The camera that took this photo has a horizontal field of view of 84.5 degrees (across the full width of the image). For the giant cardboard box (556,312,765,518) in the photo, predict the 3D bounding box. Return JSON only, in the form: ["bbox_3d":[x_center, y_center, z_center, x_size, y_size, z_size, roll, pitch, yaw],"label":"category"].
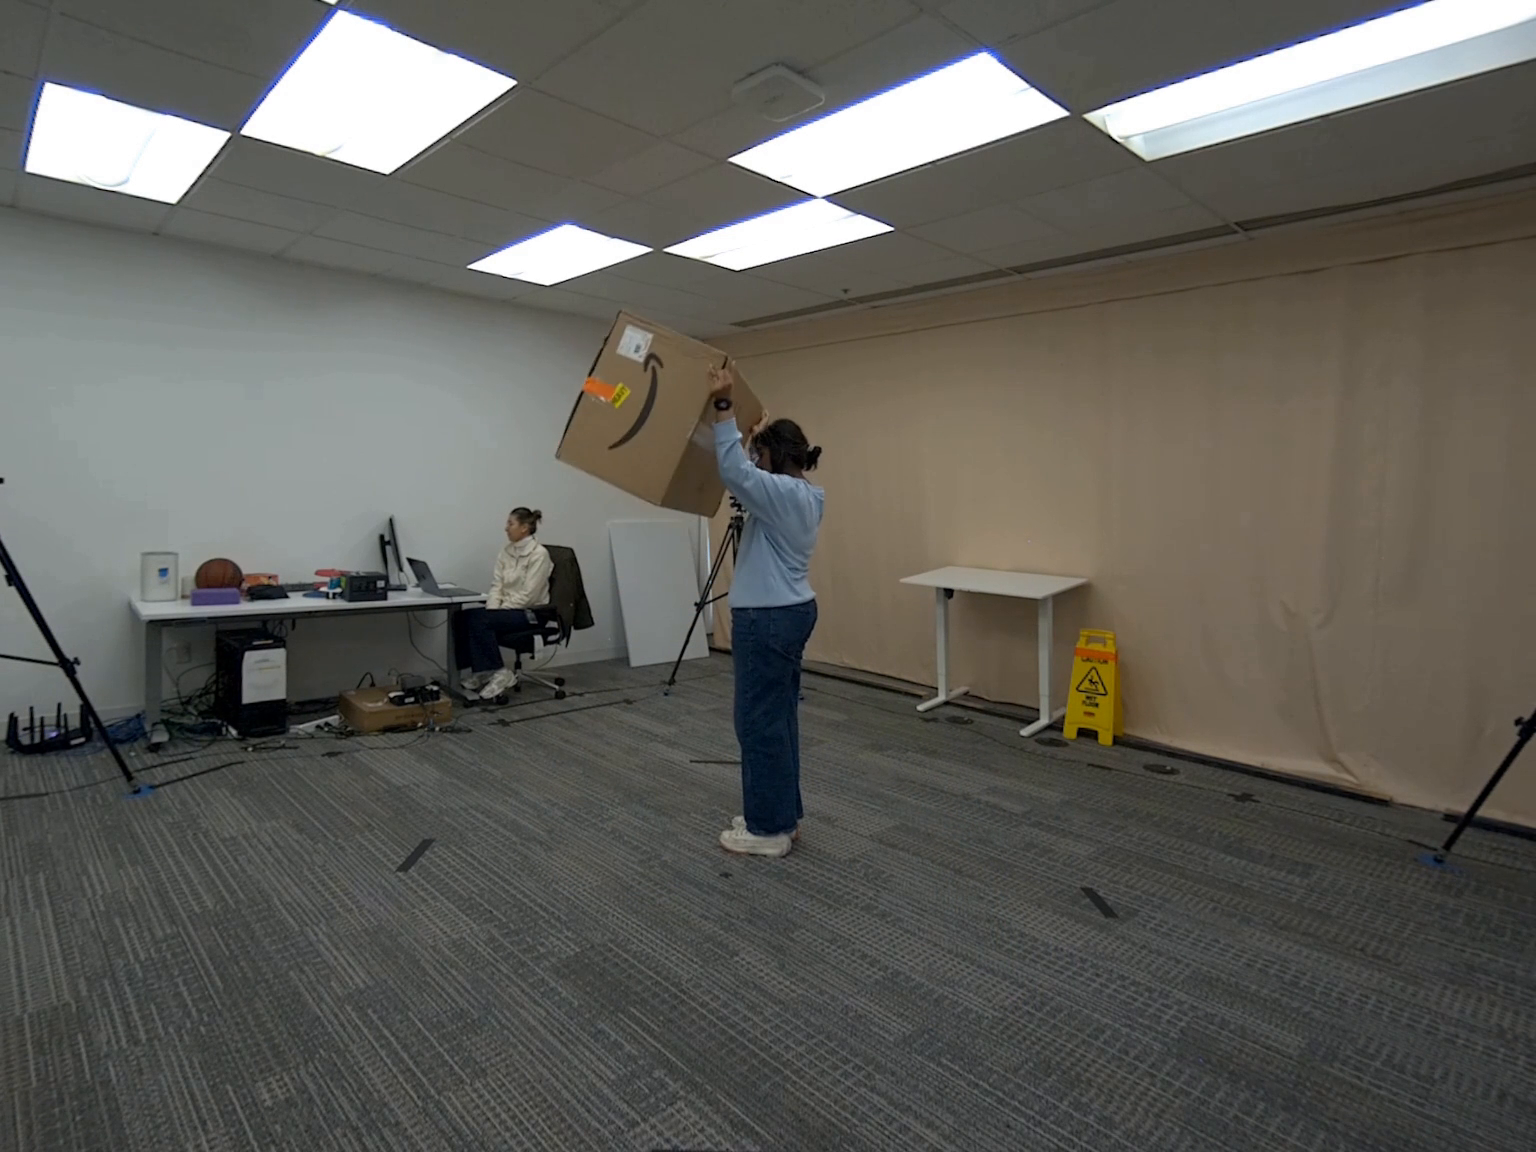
[{"bbox_3d":[-0.390,-0.592,3.413,0.430,0.577,1.018,25,3,6],"label":"giant cardboard box"}]
